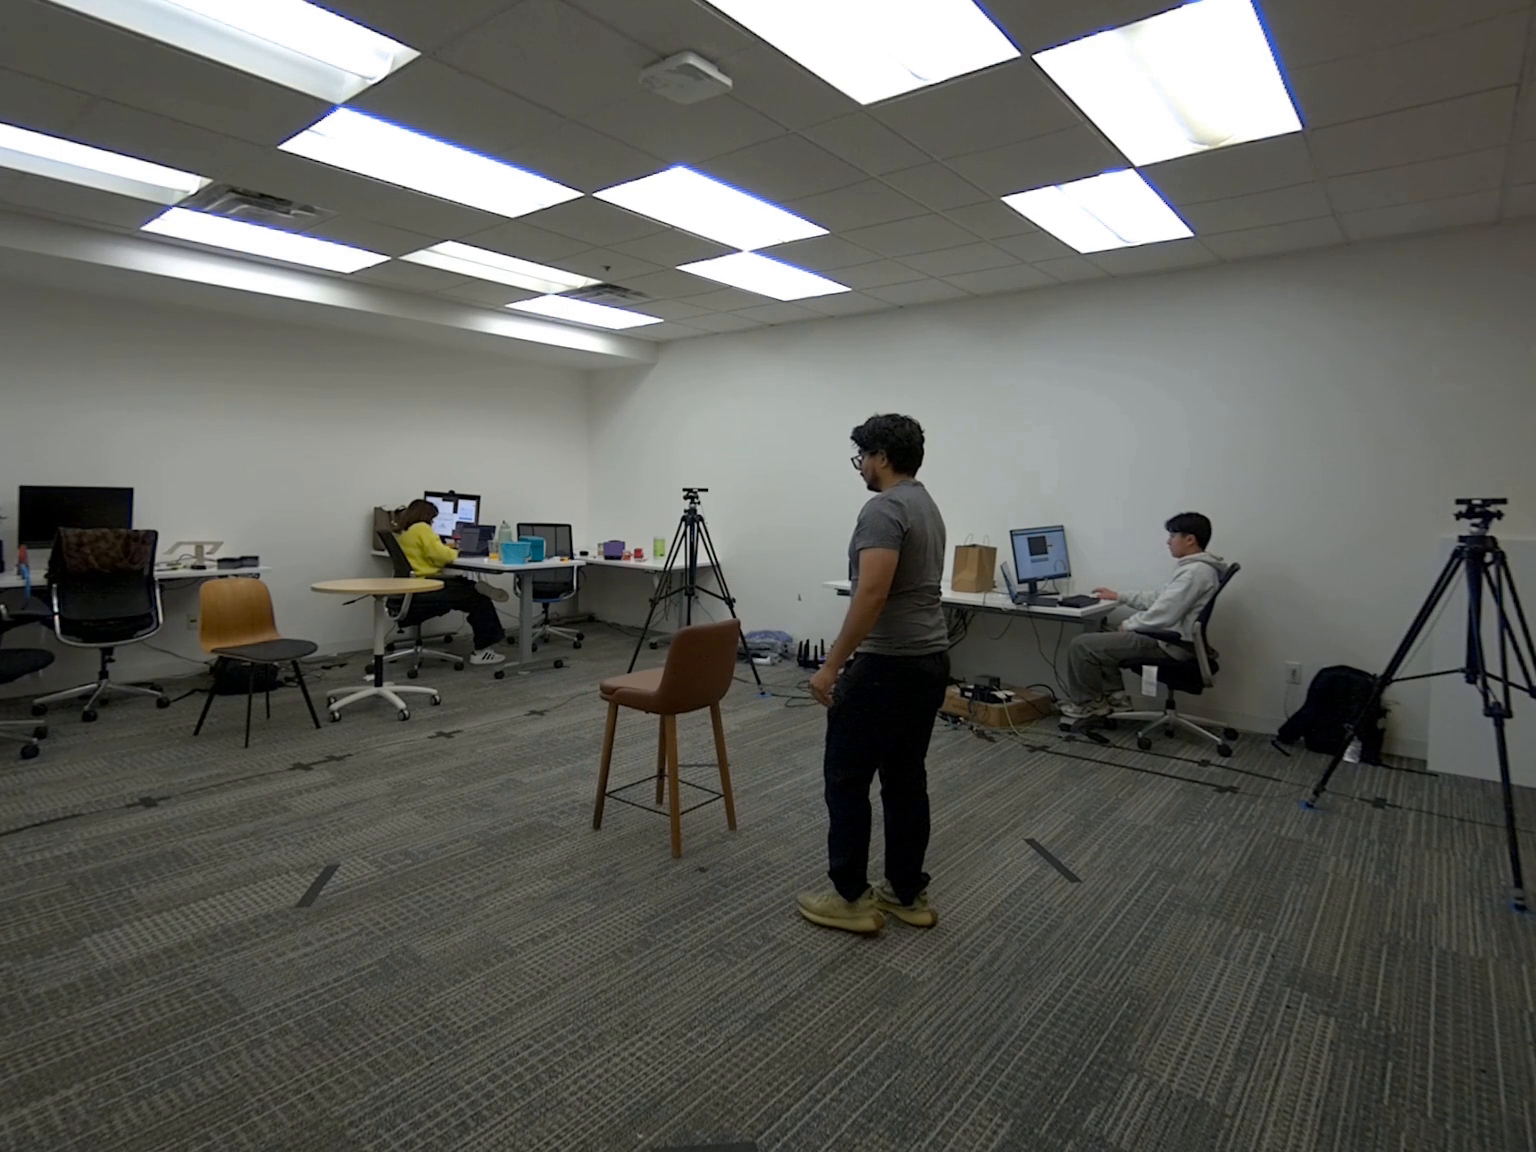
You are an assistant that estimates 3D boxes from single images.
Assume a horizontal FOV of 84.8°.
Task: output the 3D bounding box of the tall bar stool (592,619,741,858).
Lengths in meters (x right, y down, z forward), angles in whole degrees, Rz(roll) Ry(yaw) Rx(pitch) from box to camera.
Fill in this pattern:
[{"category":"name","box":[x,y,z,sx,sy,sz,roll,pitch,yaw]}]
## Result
[{"category":"tall bar stool","box":[-0.416,0.599,3.457,0.483,0.887,0.443,6,5,37]}]
